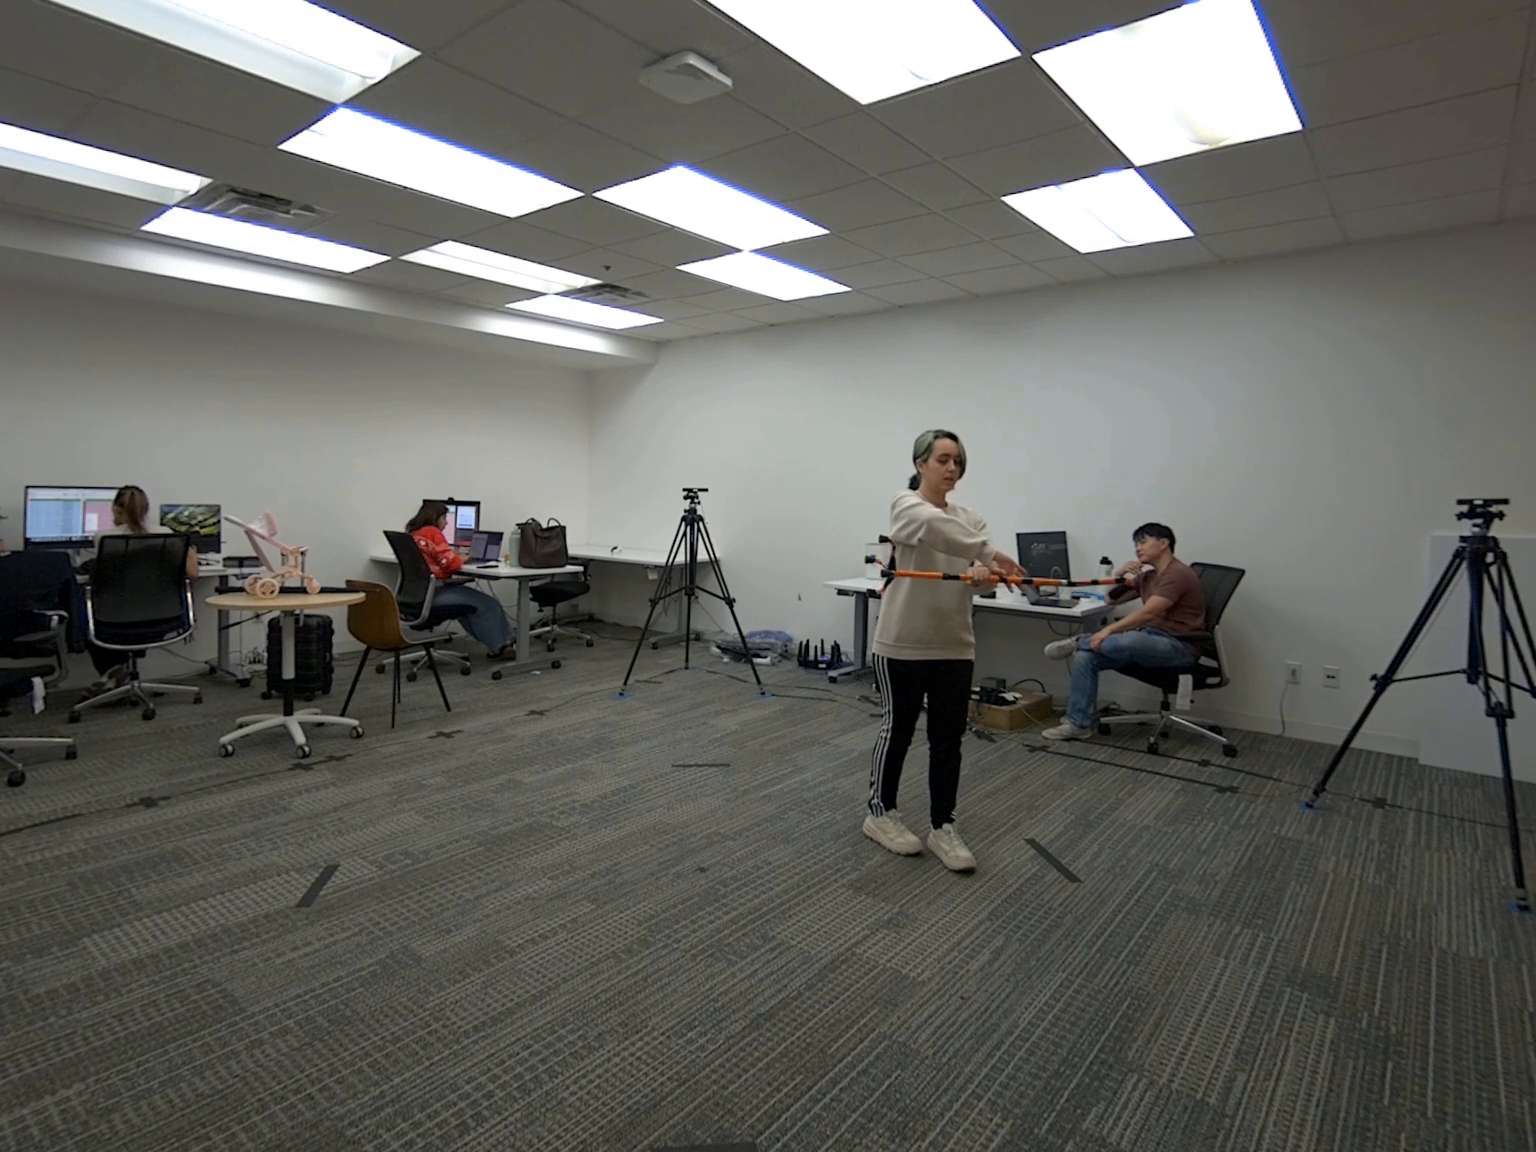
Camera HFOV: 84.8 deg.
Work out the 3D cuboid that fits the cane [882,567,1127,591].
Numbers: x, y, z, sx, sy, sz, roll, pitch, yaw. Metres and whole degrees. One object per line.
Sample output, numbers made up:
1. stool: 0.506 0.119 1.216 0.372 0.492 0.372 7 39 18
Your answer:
1. cane: 0.792 -0.002 2.906 0.901 0.155 0.204 3 -24 -7
